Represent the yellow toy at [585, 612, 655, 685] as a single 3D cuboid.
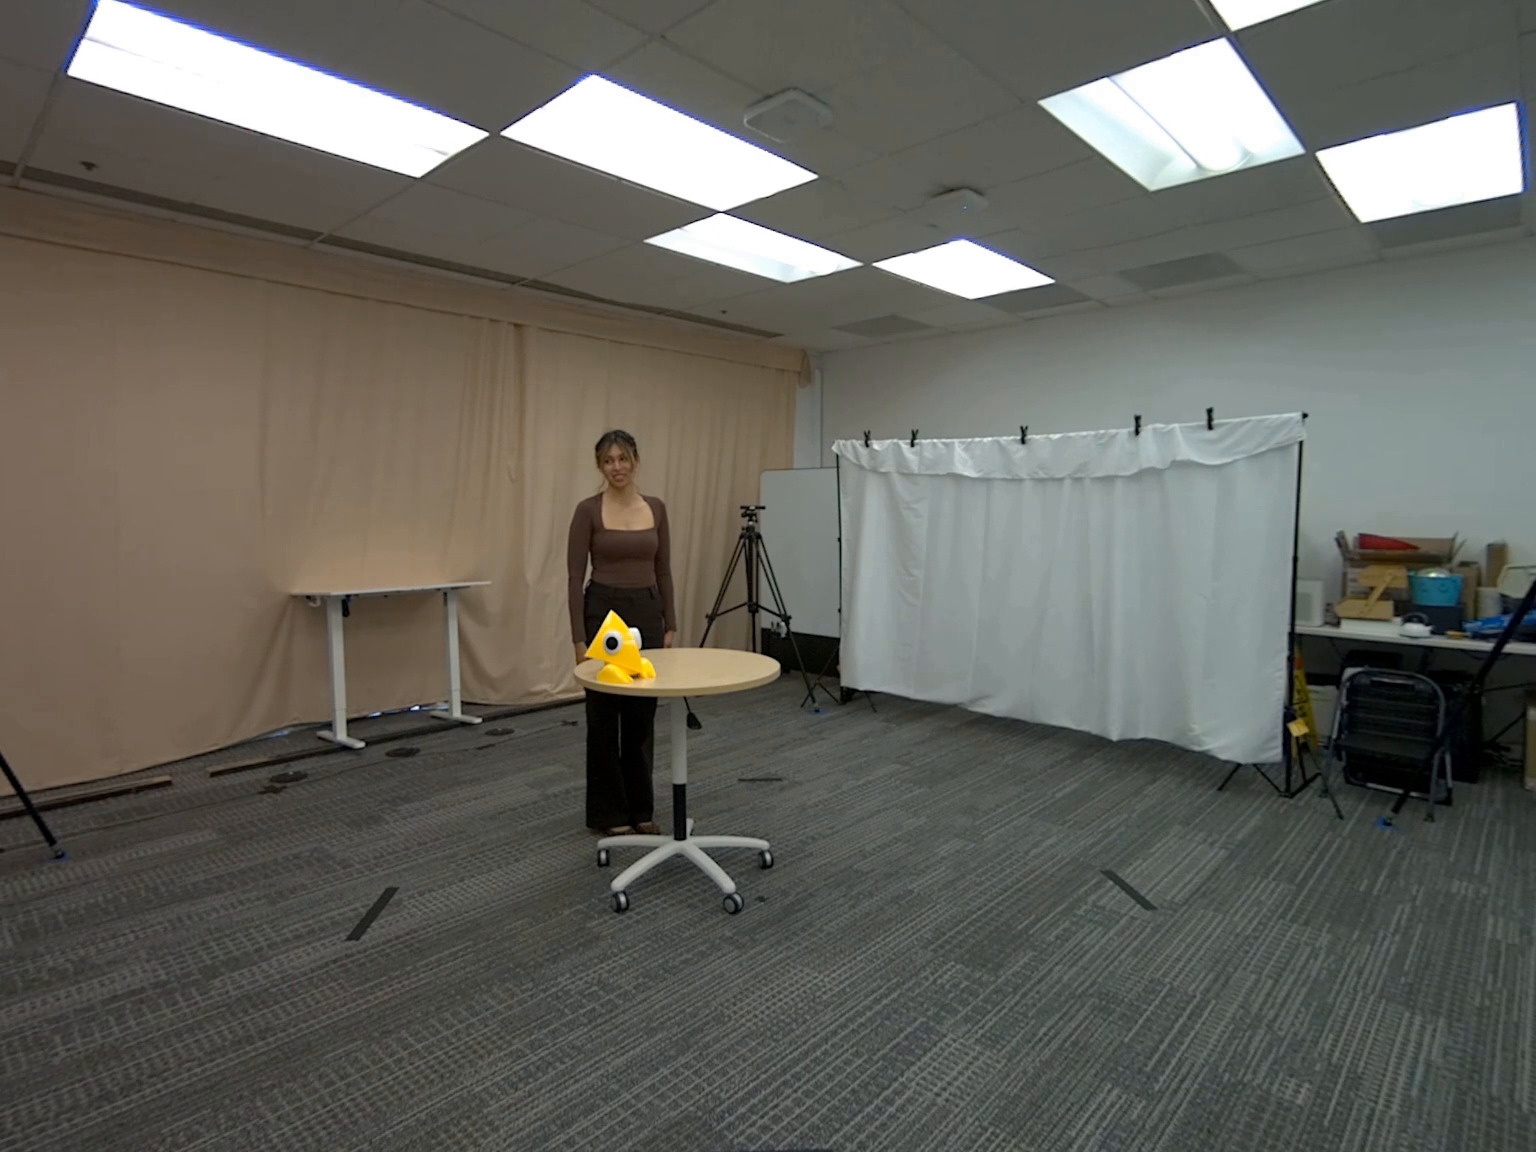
[{"bbox_3d":[-0.502,0.239,2.956,0.199,0.230,0.199,4,6,39],"label":"yellow toy"}]
